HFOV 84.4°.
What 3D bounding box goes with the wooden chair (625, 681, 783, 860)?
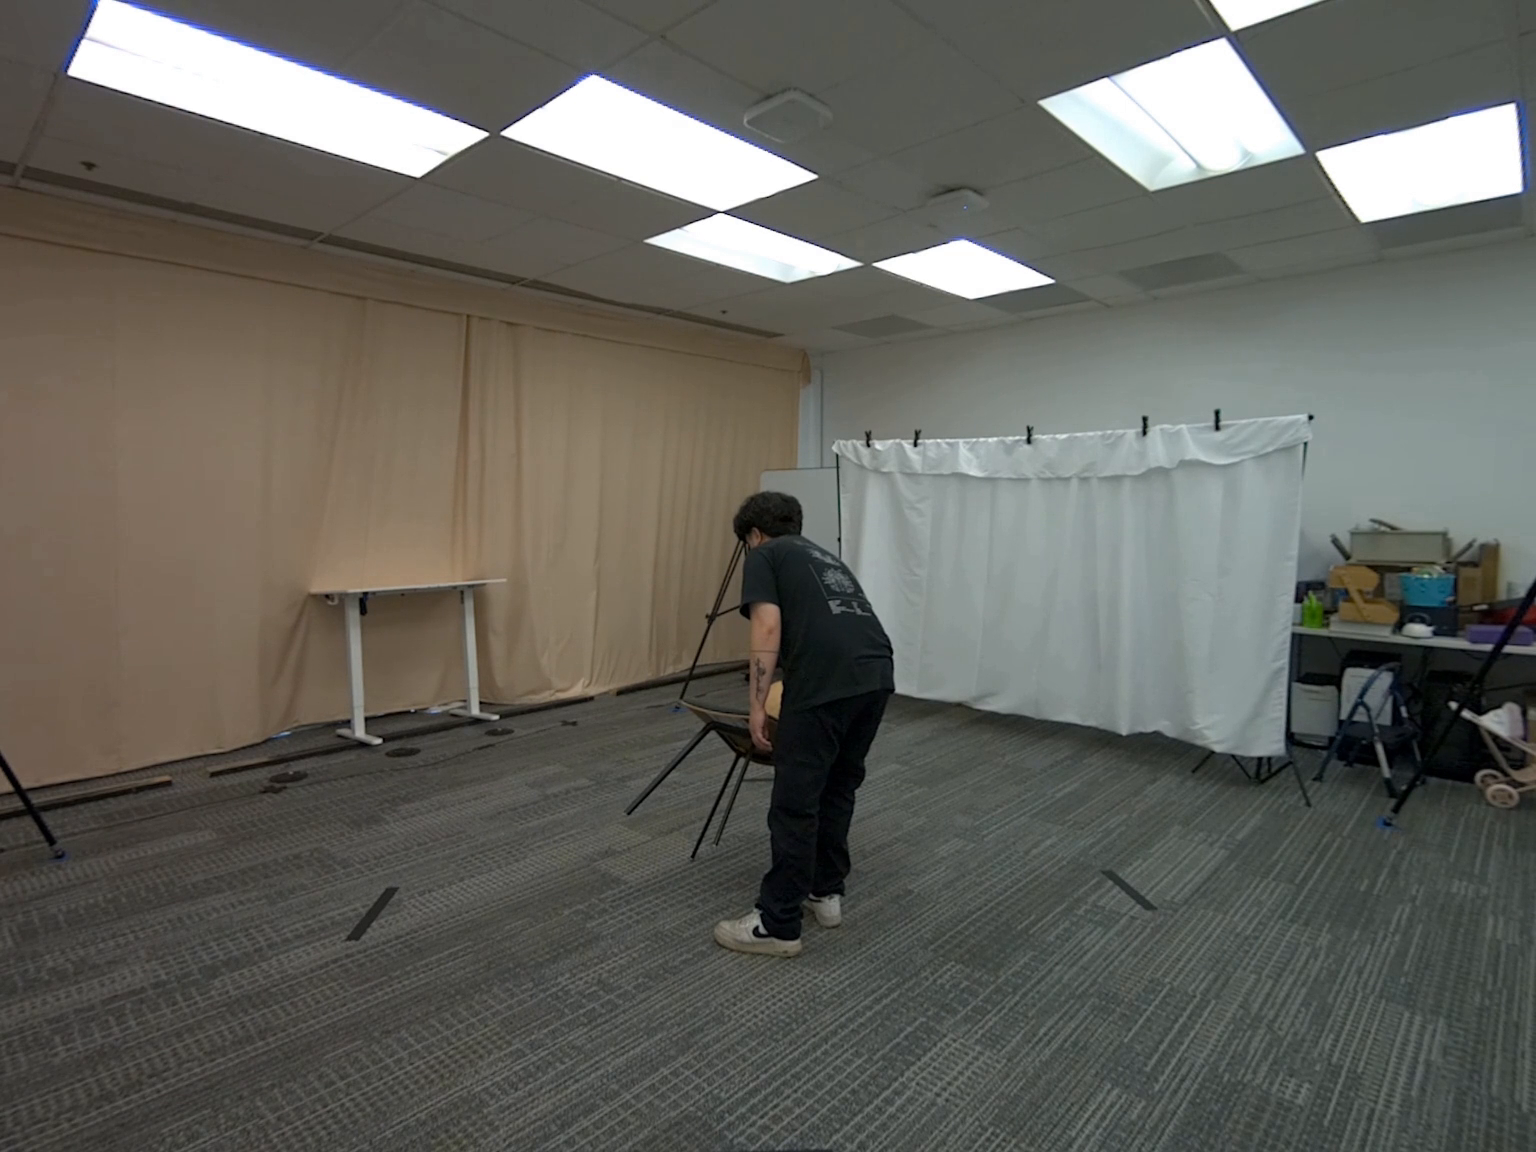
[{"bbox_3d":[-0.076,0.648,3.205,0.494,0.877,0.506,3,-38,41],"label":"wooden chair"}]
